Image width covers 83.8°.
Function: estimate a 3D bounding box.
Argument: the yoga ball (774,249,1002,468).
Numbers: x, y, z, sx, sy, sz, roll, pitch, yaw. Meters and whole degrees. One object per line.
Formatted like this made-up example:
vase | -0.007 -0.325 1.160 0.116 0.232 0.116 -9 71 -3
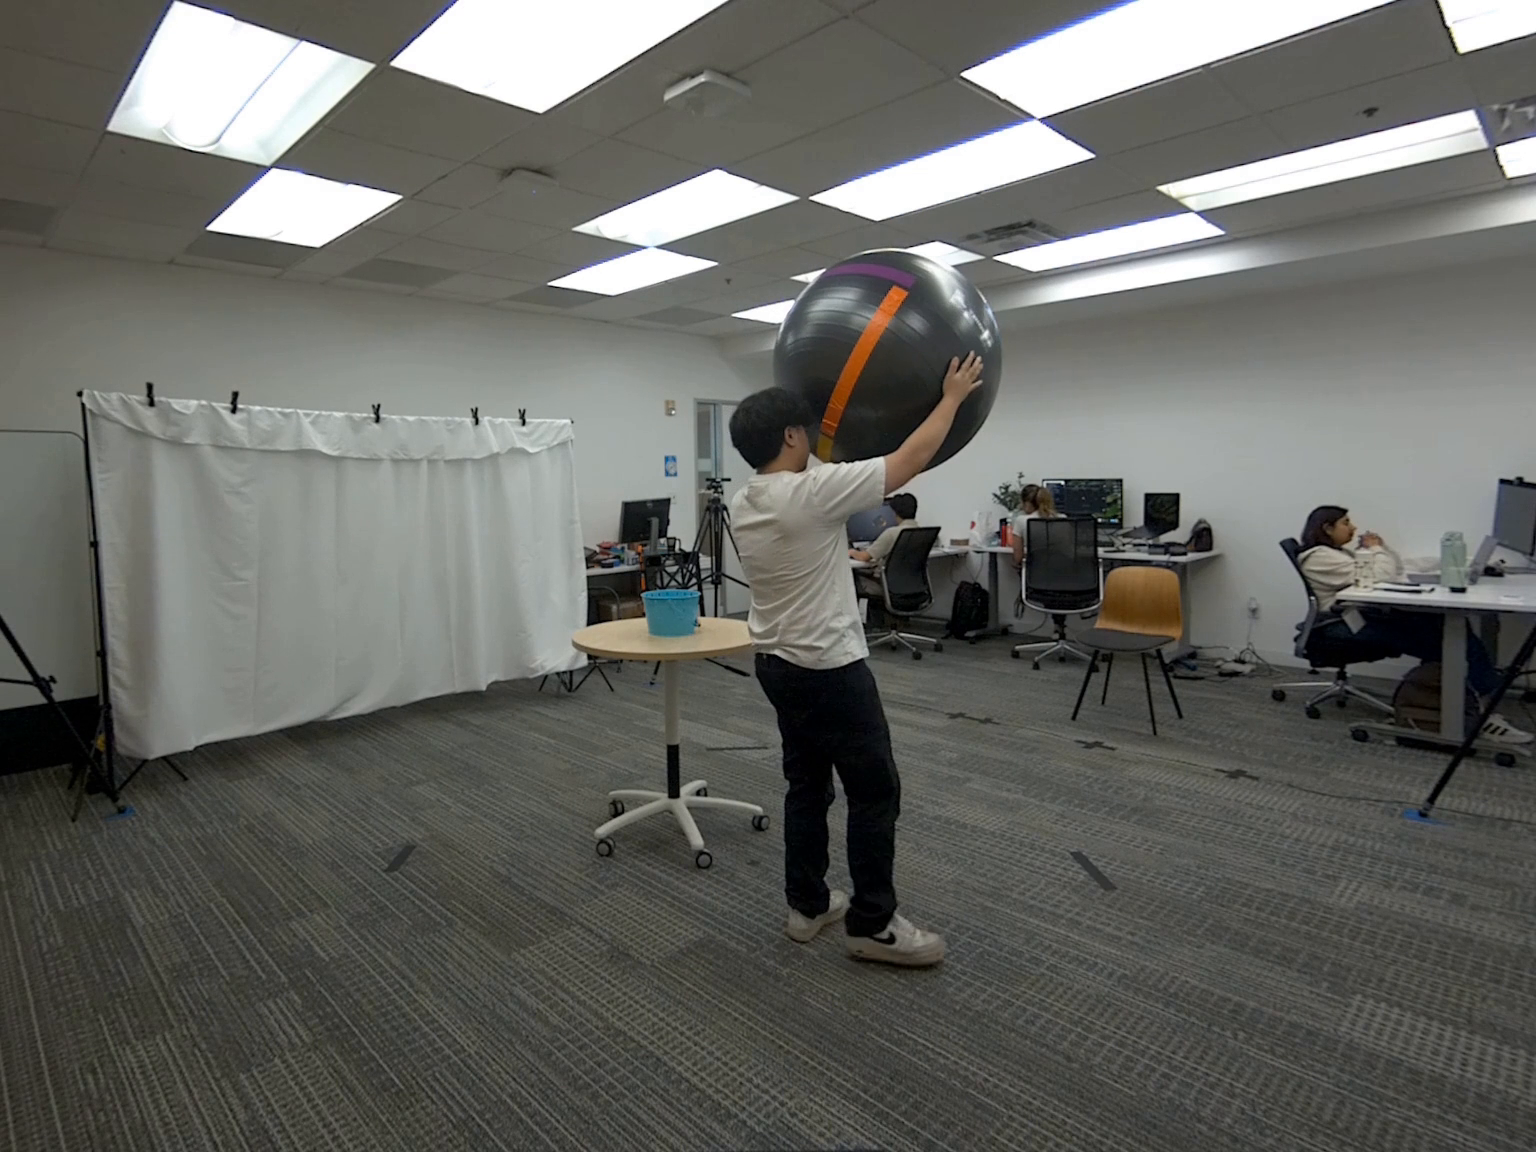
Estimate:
yoga ball | 0.399 -0.704 2.886 0.757 0.755 0.762 -1 5 -2
